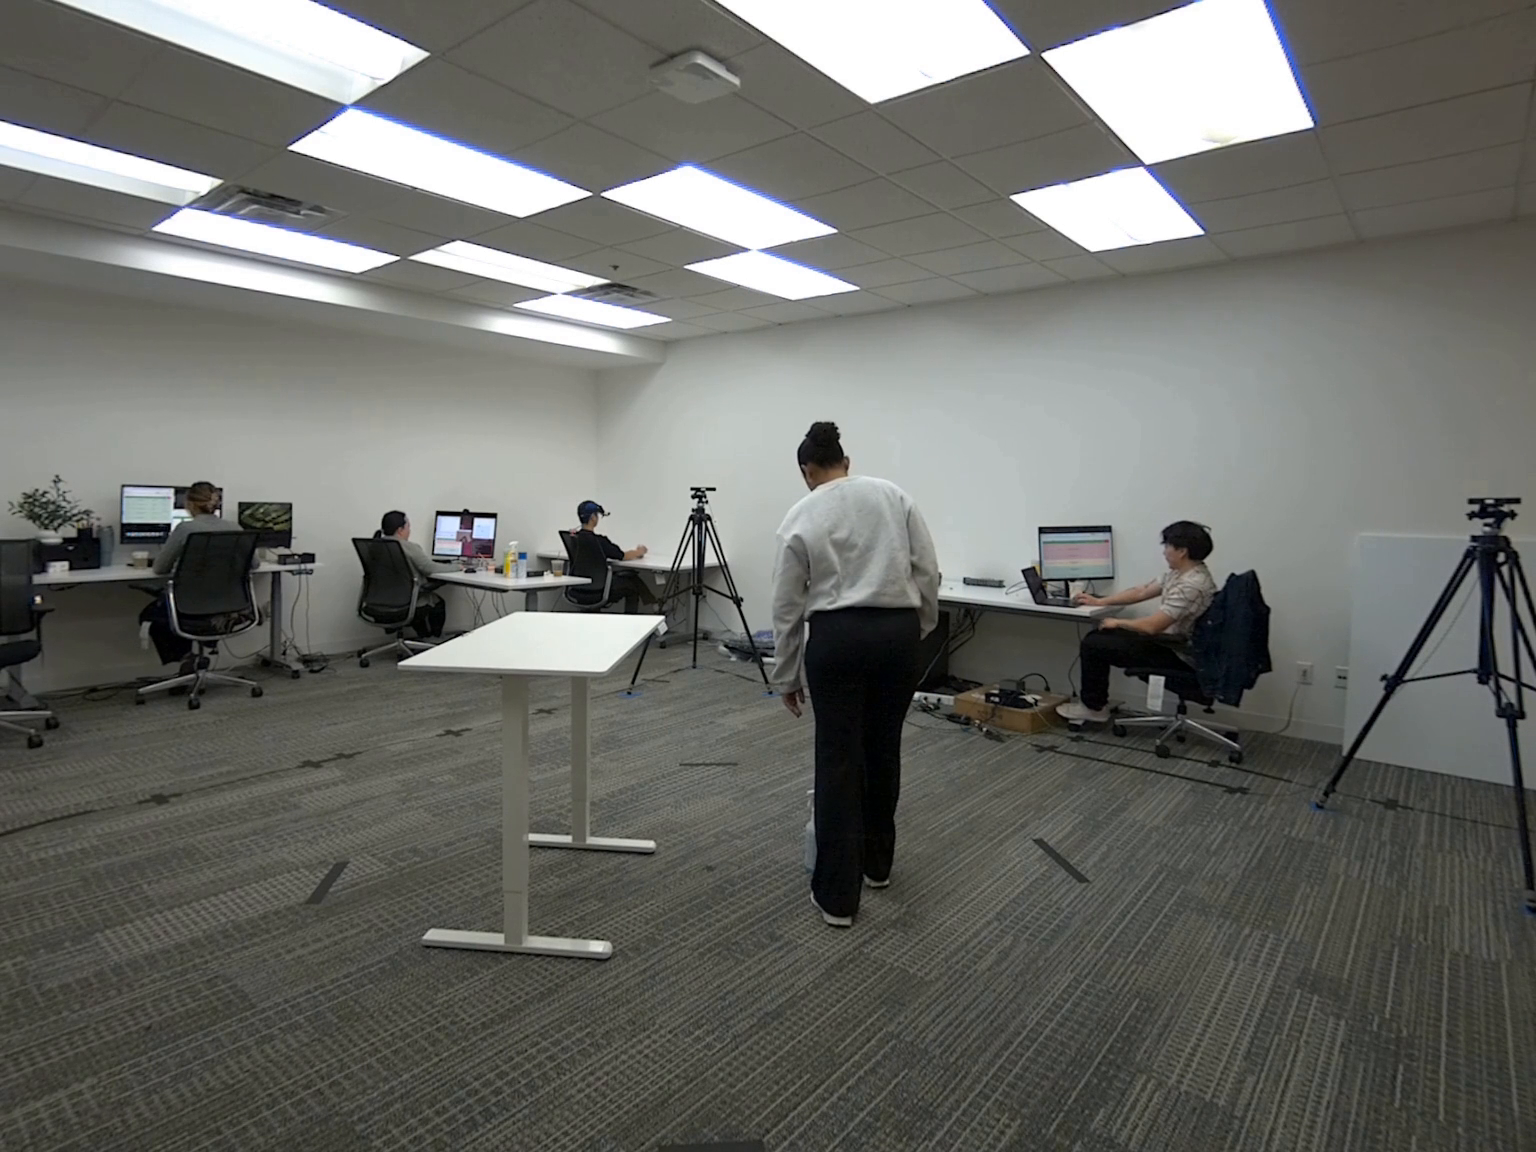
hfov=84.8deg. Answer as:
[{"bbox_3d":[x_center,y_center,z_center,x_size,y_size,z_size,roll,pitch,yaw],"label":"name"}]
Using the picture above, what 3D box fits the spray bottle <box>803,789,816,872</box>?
[{"bbox_3d":[0.177,0.925,3.115,0.089,0.296,0.088,1,4,-8],"label":"spray bottle"}]
